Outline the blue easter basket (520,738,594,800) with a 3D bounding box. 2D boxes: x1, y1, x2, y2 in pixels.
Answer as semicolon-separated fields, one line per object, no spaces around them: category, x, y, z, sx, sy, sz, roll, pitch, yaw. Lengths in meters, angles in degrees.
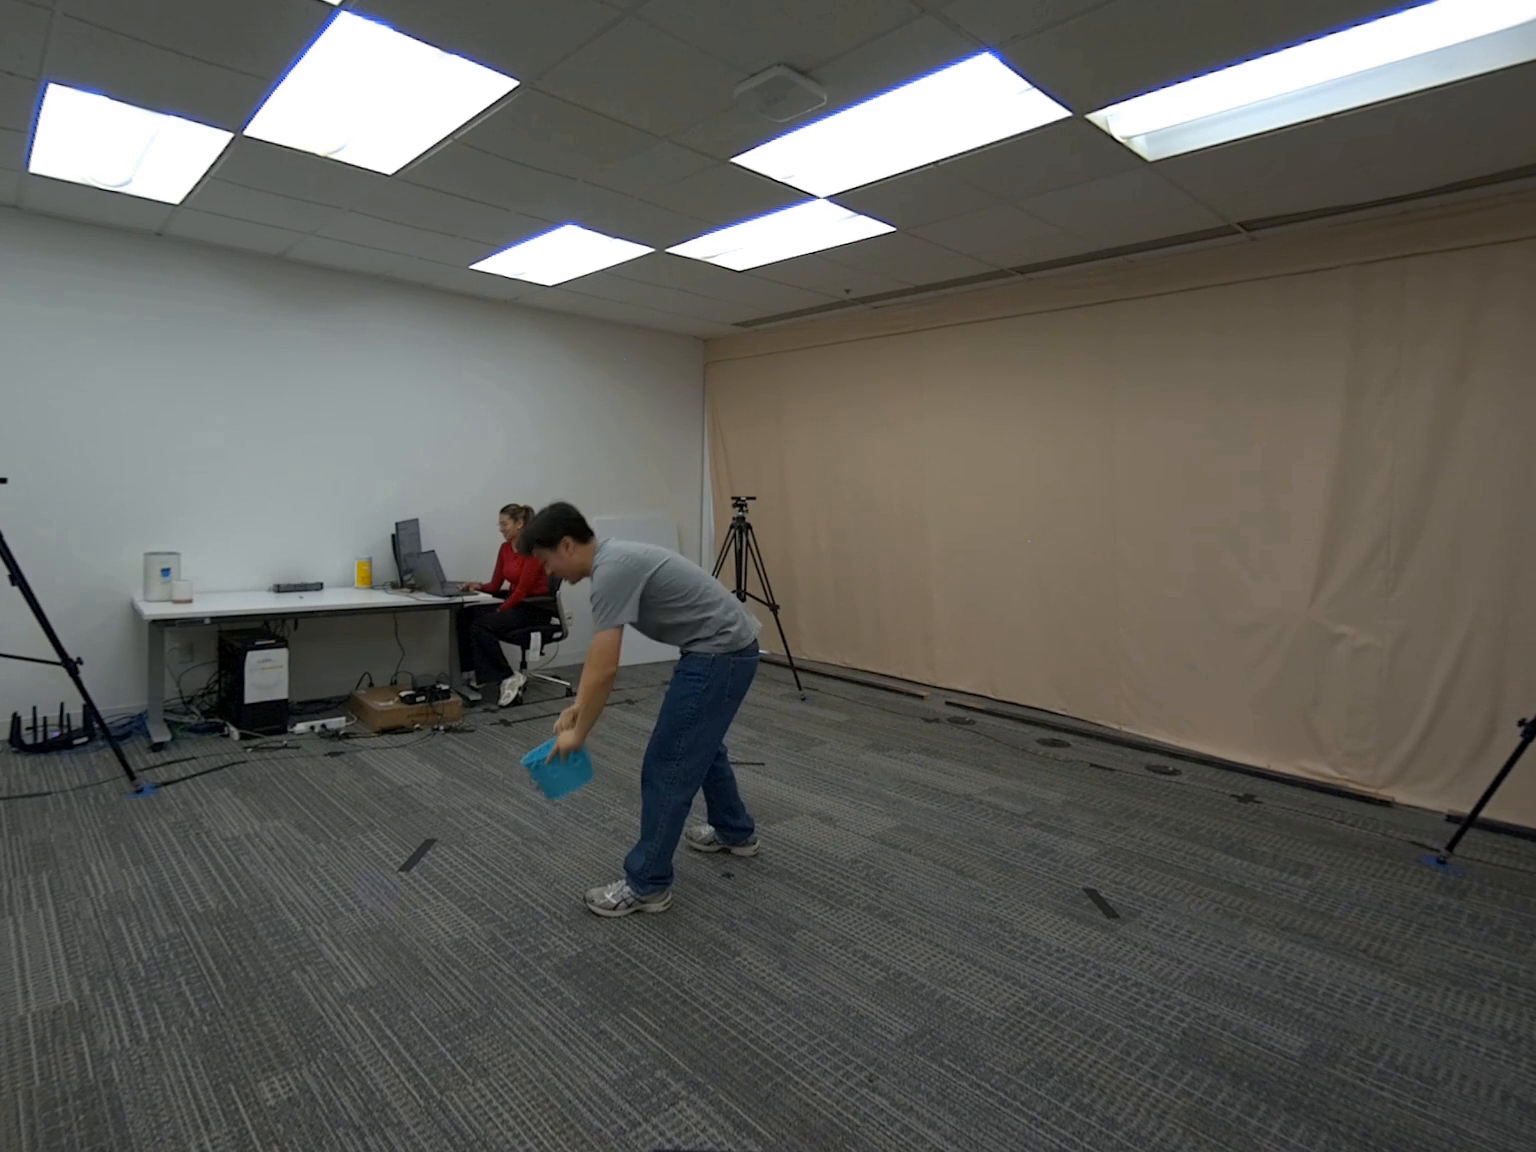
blue easter basket;-0.702;0.608;2.870;0.244;0.155;0.245;-20;6;0
